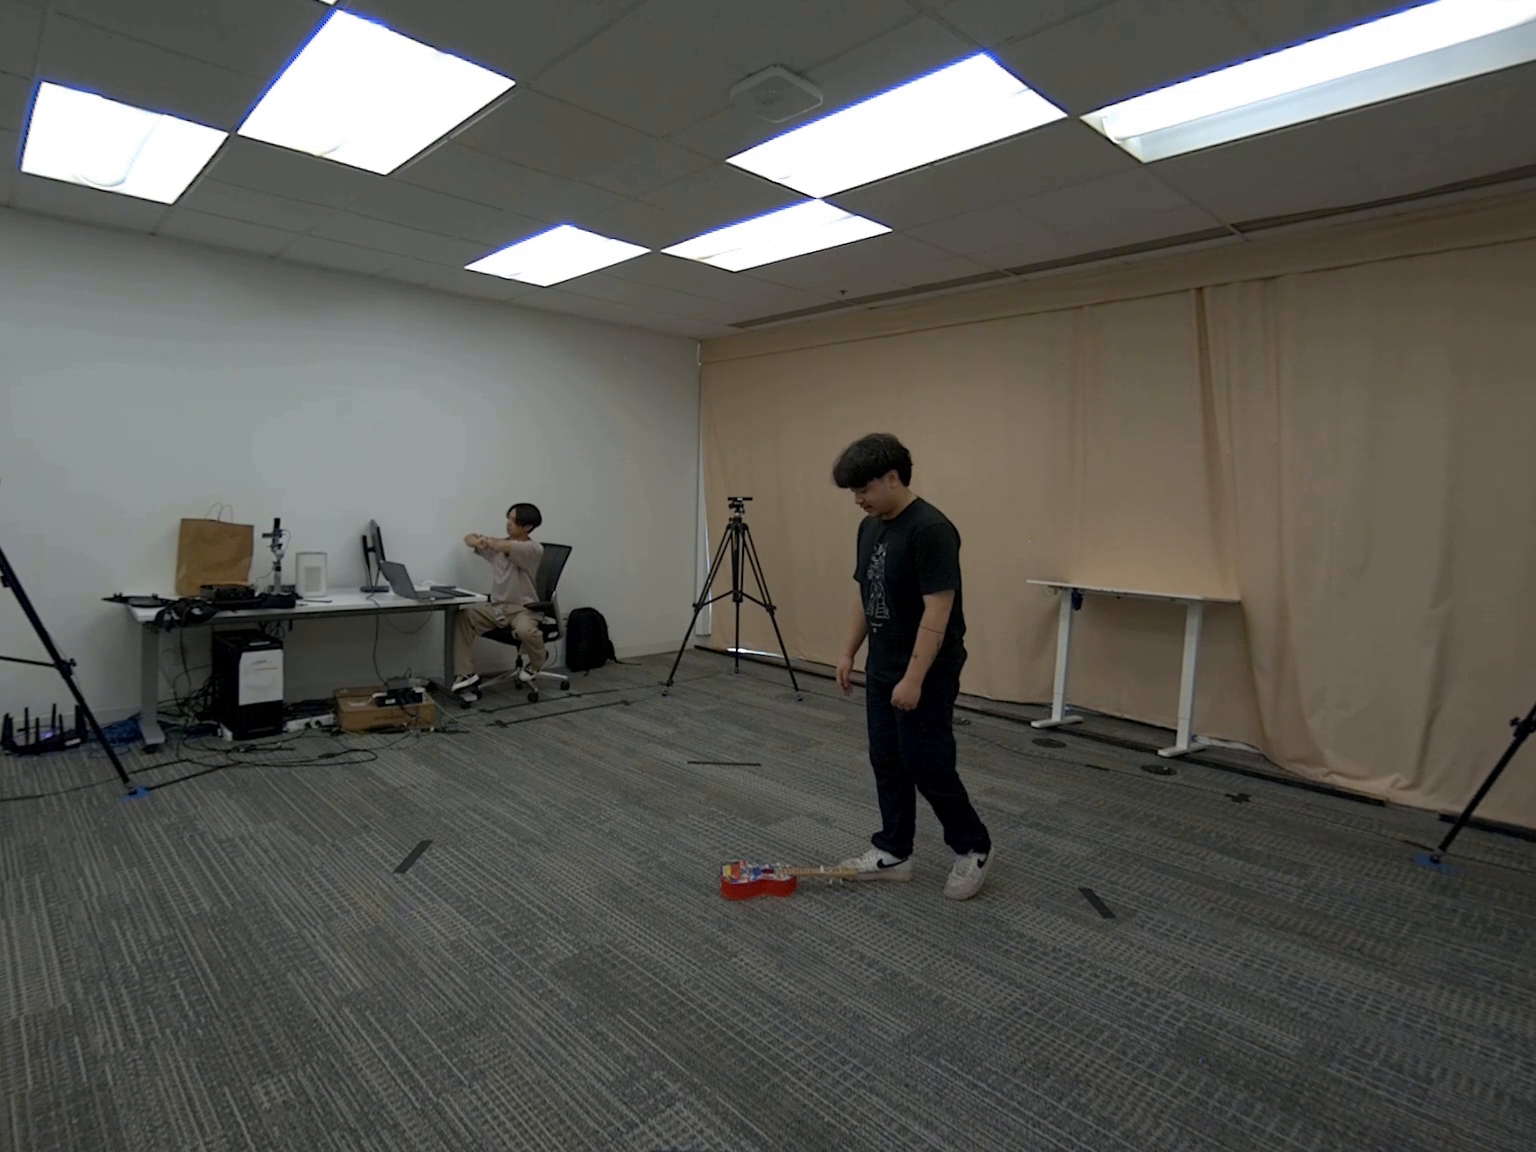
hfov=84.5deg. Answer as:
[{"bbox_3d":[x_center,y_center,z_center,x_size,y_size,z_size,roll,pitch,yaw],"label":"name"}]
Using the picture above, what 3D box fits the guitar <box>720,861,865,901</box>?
[{"bbox_3d":[0.067,1.084,2.994,0.500,0.070,0.192,1,4,6],"label":"guitar"}]
